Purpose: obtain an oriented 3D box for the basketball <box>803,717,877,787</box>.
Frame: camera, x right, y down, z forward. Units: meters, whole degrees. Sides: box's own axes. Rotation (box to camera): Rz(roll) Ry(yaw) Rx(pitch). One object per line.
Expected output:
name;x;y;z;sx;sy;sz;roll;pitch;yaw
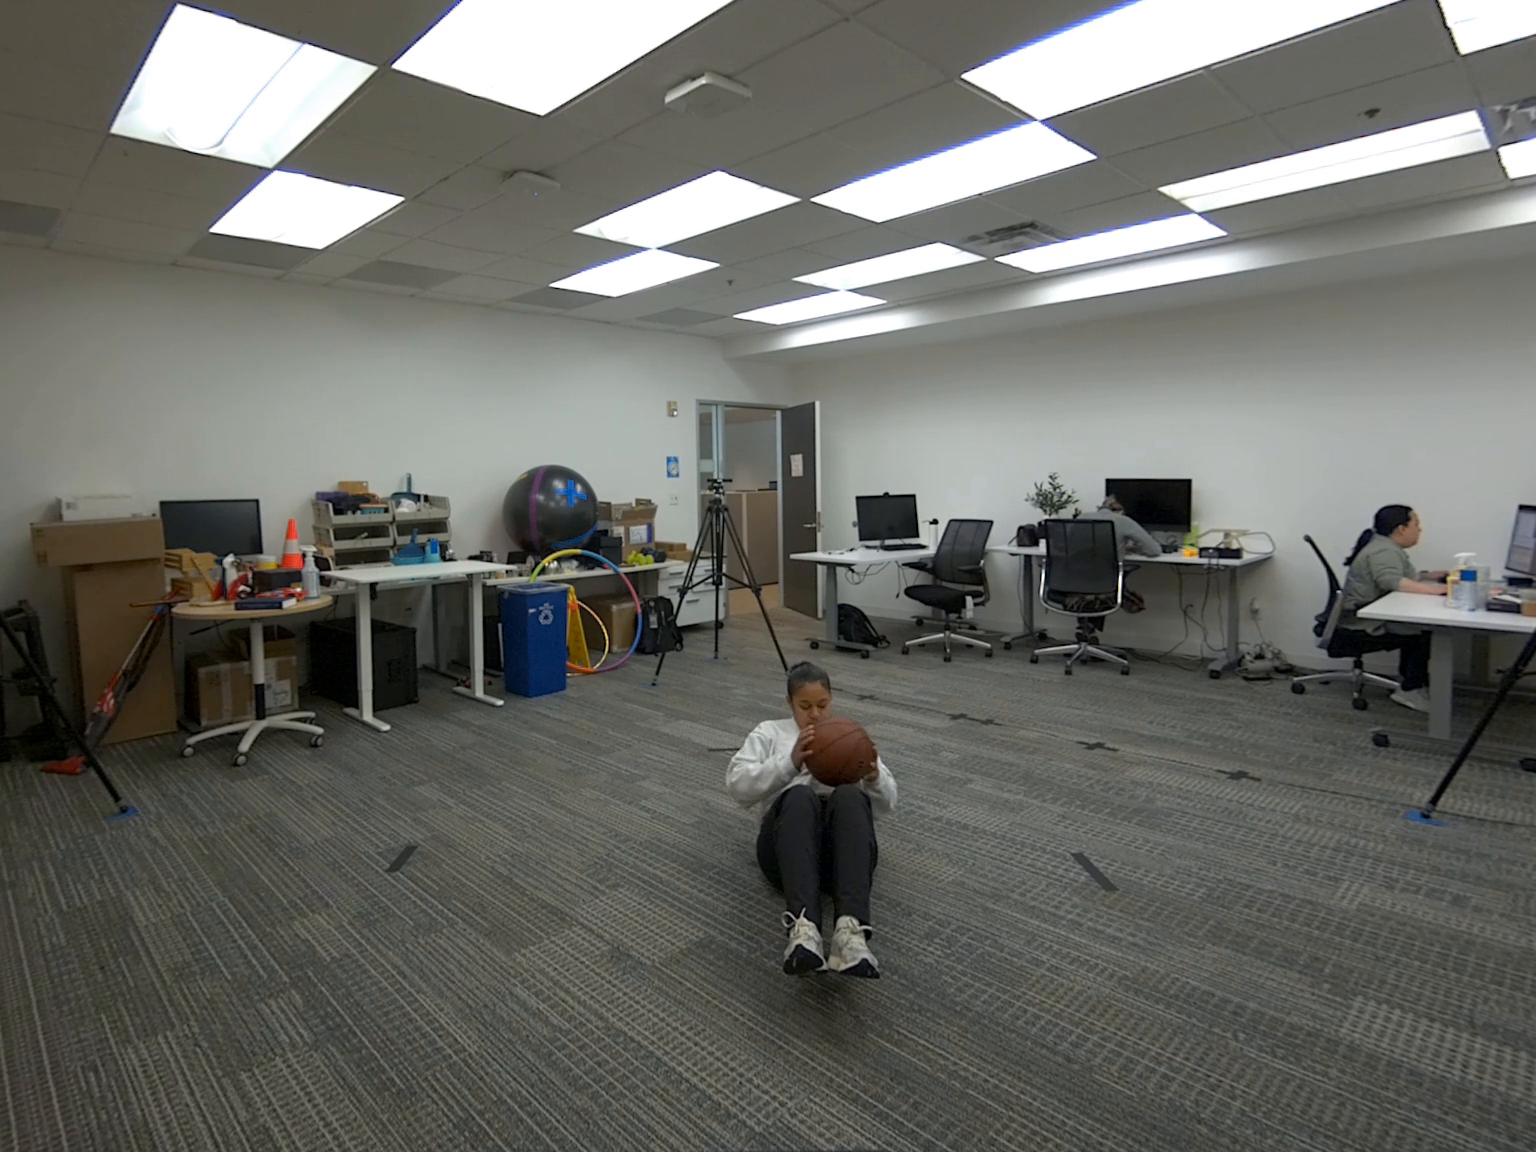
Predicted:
basketball;0.226;0.615;2.934;0.236;0.235;0.237;-1;5;-2
